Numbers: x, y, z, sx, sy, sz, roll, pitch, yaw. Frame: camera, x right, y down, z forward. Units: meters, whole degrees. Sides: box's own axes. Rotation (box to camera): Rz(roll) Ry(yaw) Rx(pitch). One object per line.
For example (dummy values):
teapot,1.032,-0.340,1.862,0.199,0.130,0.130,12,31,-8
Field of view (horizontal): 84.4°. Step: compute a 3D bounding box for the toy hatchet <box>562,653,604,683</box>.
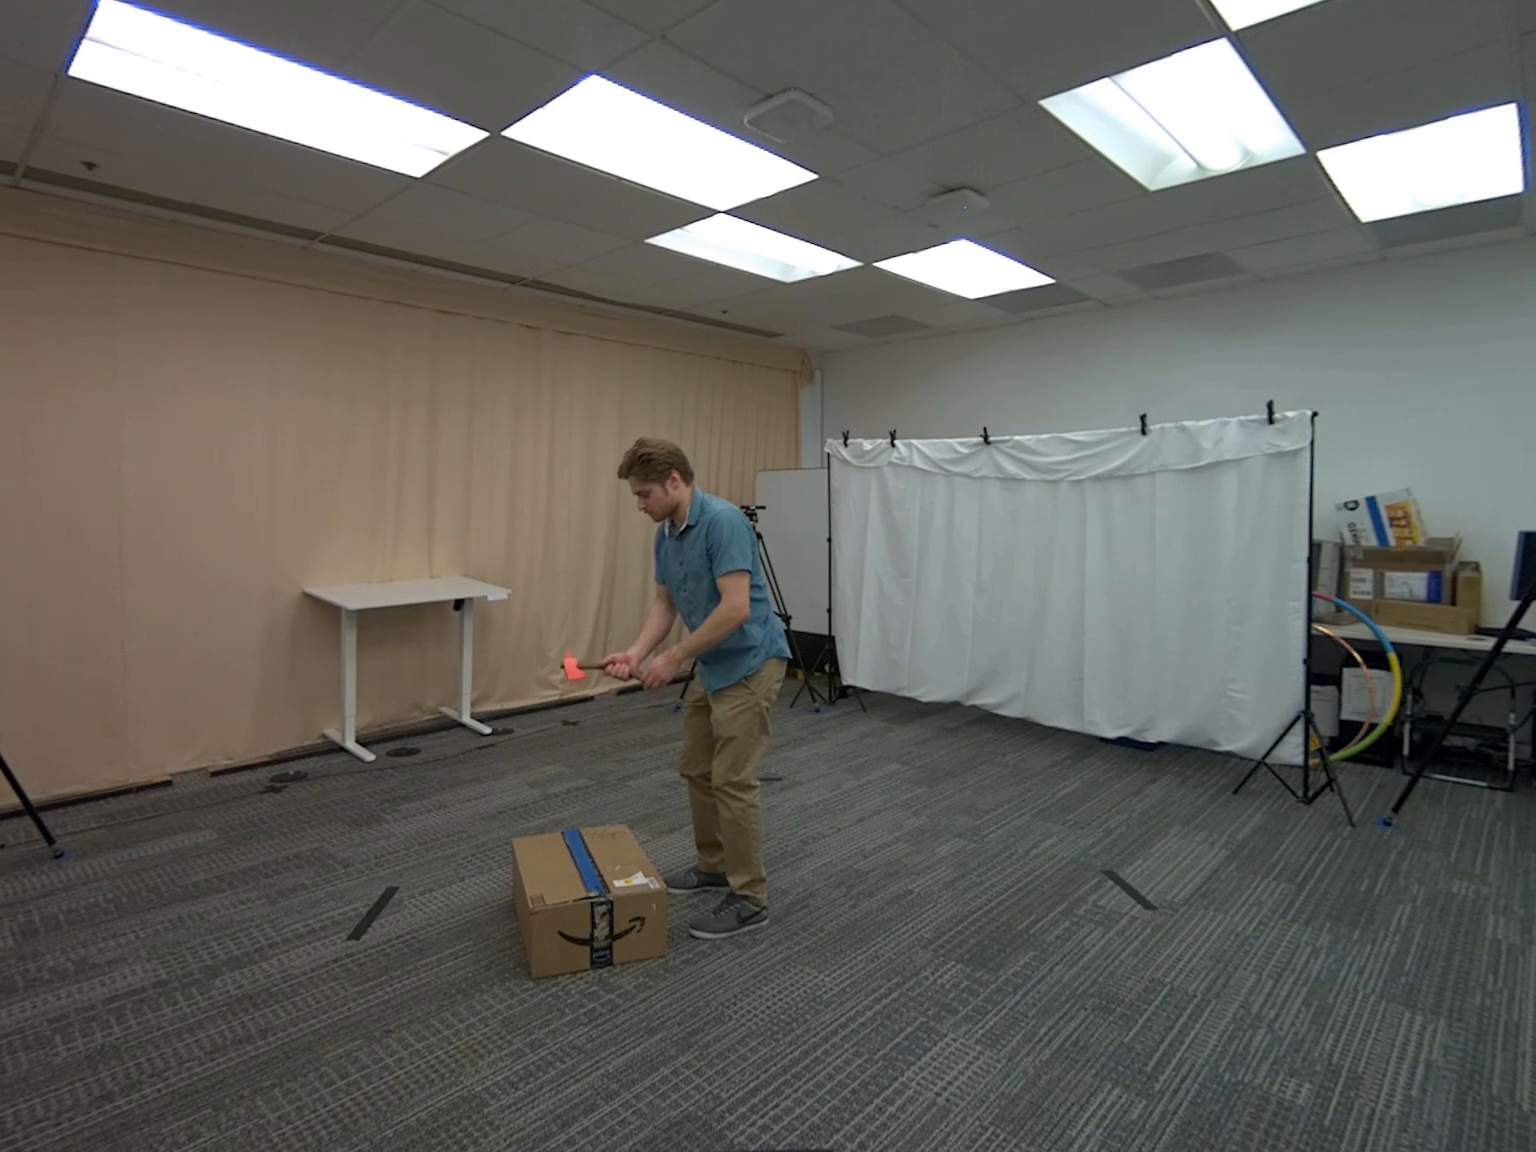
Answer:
toy hatchet,-0.539,0.334,2.749,0.271,0.029,0.132,12,31,2
